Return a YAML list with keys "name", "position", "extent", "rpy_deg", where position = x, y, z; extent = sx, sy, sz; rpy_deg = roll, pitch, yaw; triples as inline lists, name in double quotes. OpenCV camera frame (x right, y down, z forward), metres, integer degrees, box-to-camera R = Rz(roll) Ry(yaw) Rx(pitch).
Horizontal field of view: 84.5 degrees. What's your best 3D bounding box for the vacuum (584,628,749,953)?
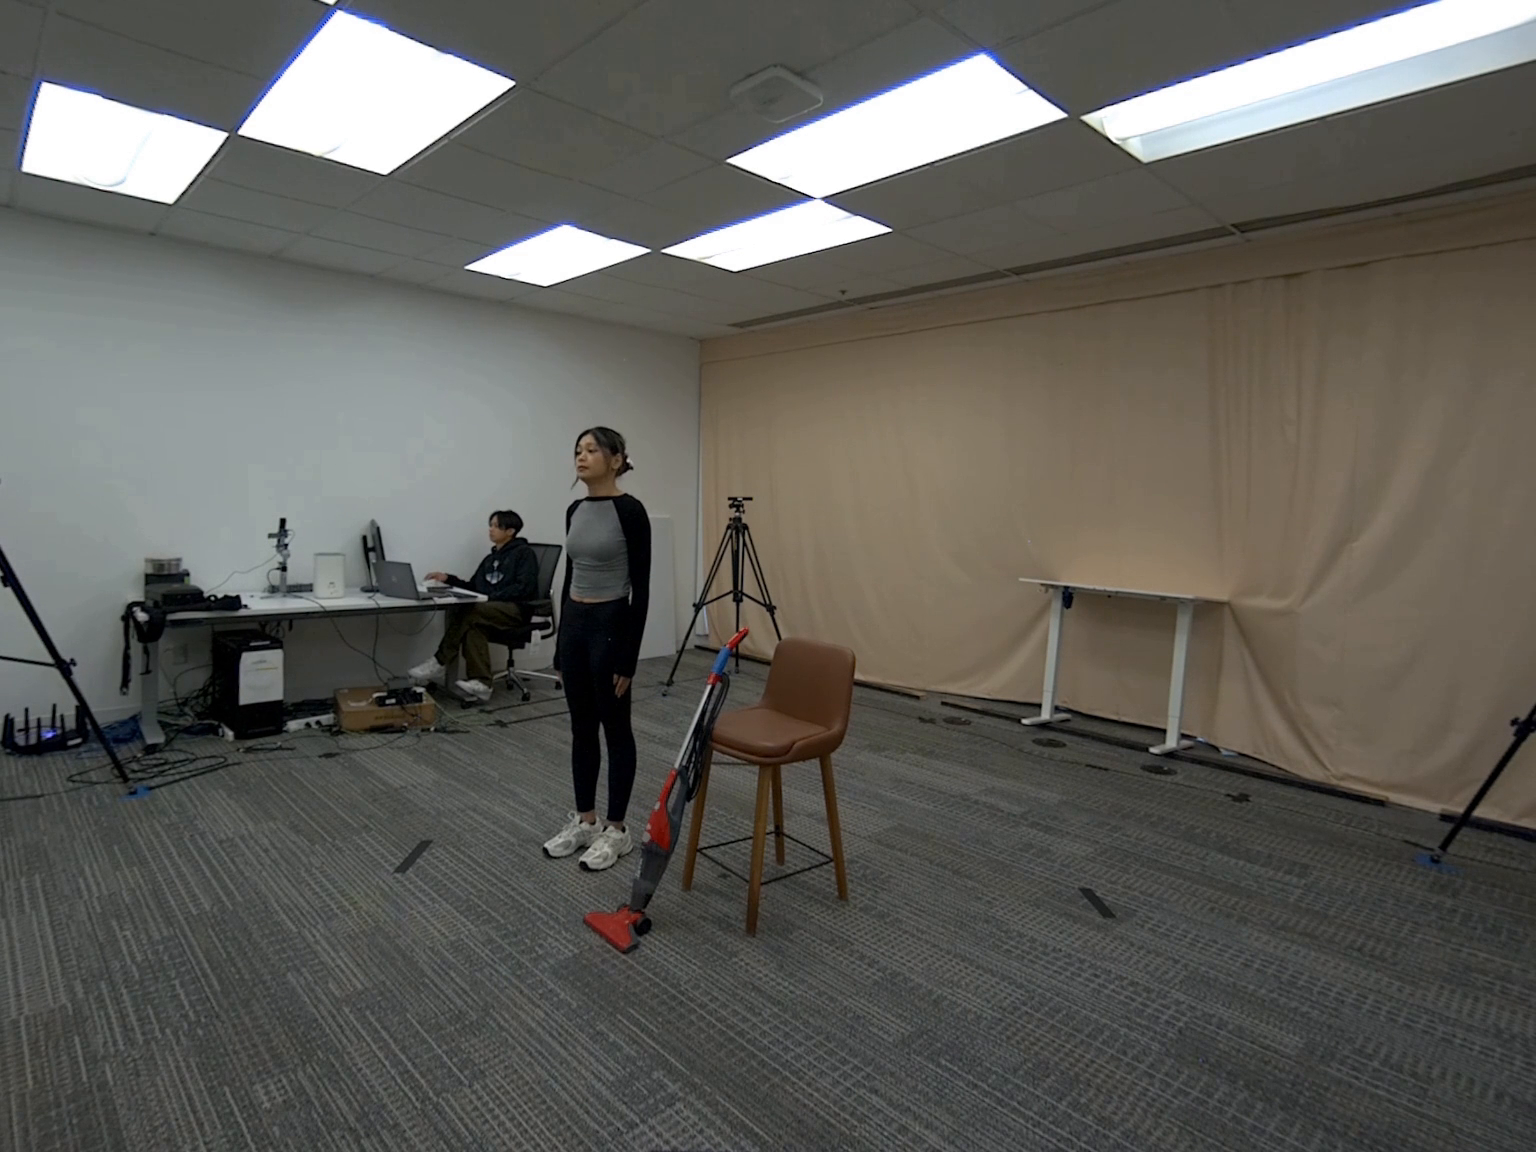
- name: "vacuum"
  position: [-0.287, 0.664, 2.819]
  extent: [0.259, 1.056, 0.139]
  rpy_deg: [5, -23, 45]
